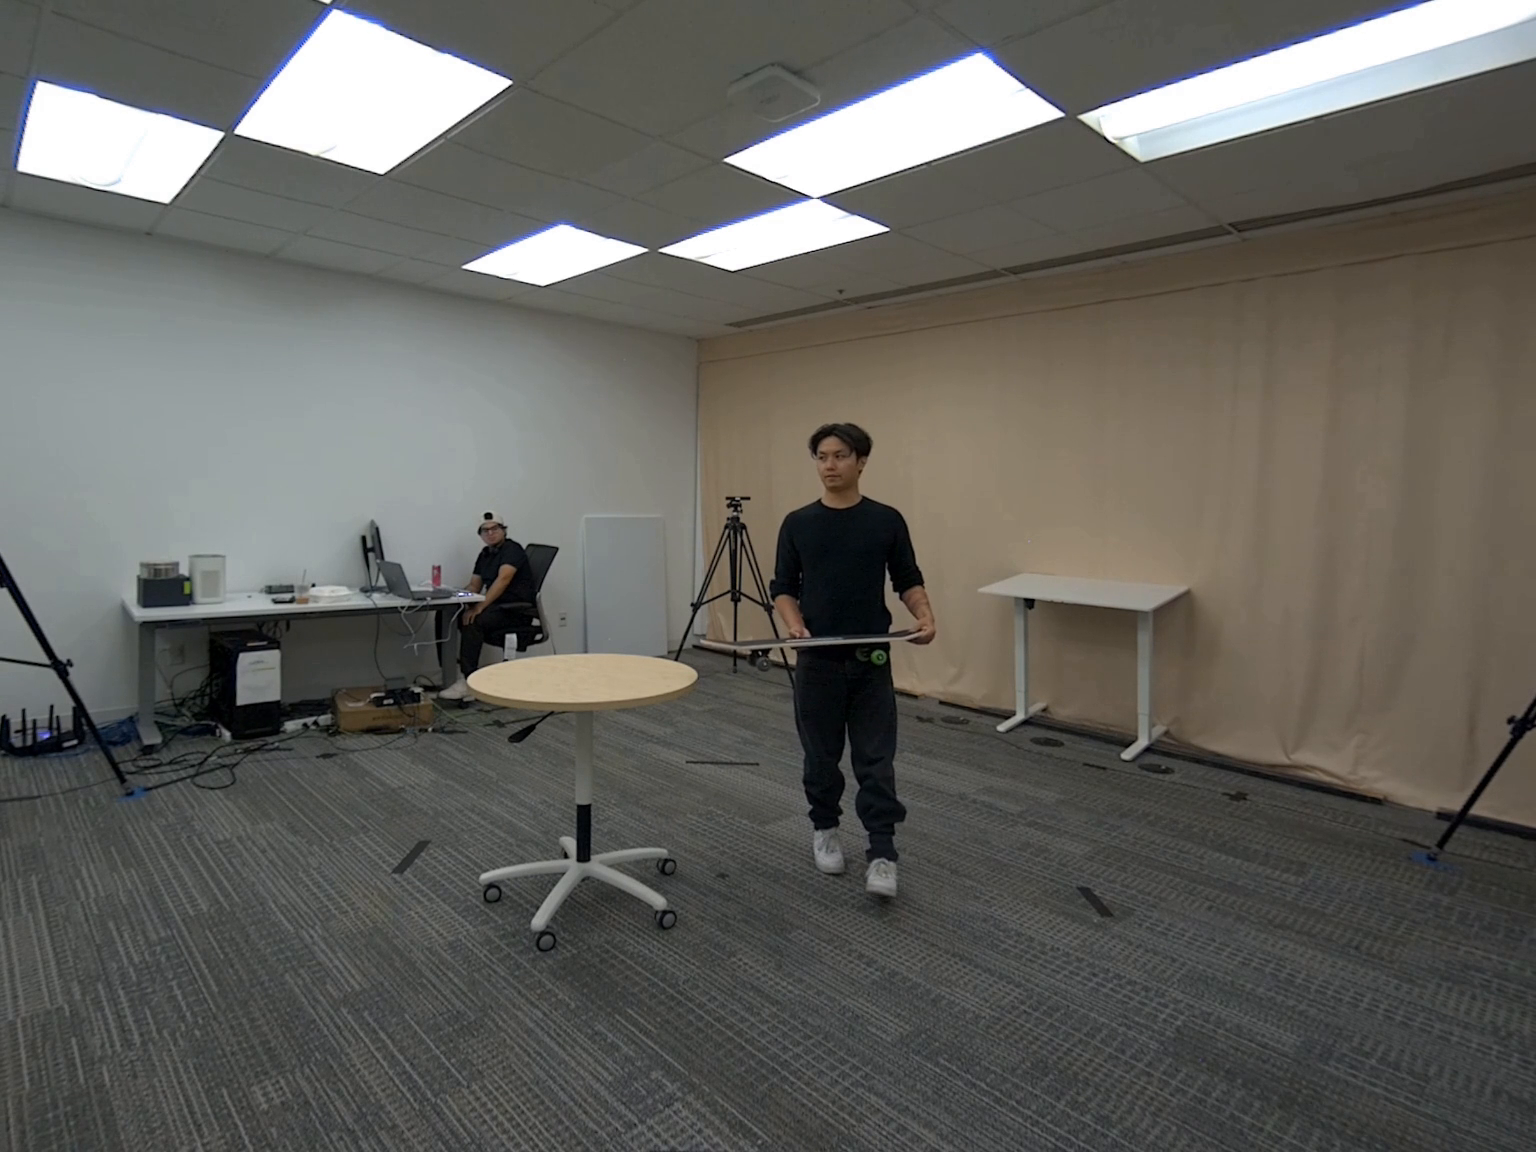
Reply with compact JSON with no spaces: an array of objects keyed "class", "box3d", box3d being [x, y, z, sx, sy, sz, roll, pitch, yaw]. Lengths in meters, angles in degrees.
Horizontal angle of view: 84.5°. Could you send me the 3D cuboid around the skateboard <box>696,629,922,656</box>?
[{"class":"skateboard","box3d":[0.162,0.259,2.885,0.780,0.110,0.194,-3,0,-9]}]
